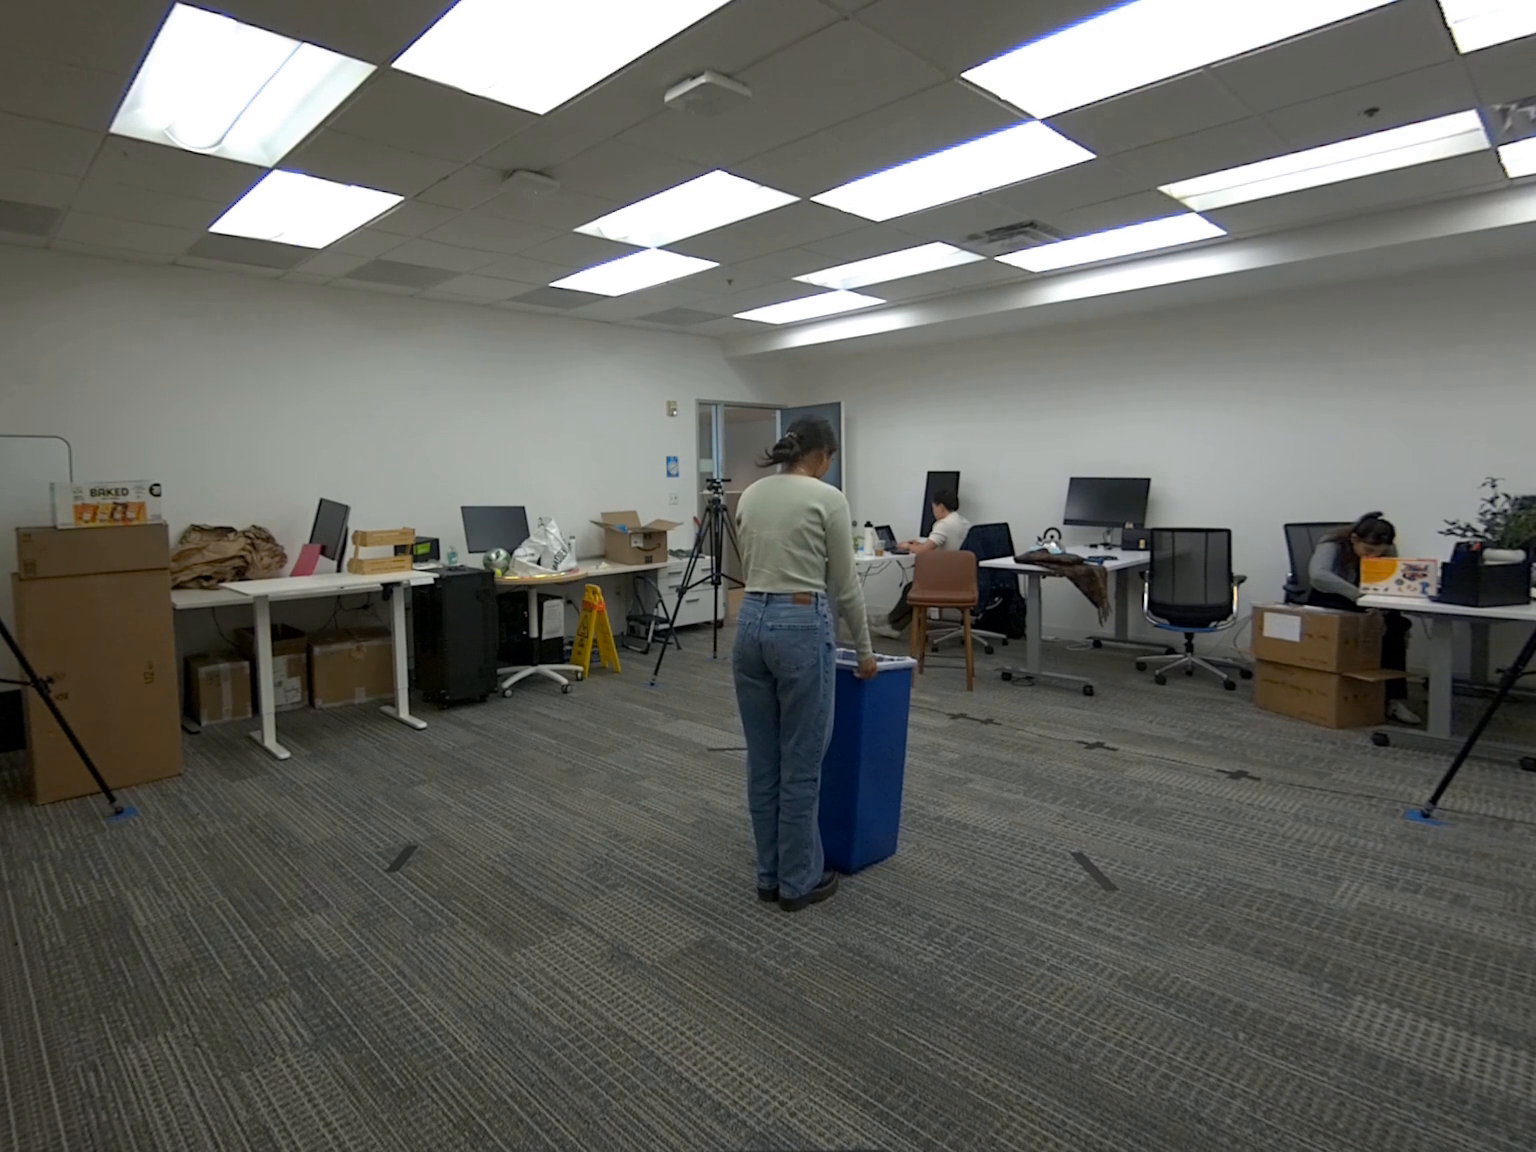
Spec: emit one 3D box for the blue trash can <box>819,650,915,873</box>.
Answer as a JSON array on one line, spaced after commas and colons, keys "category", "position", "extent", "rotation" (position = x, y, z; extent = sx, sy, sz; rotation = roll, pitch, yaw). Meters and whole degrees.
[{"category": "blue trash can", "position": [0.294, 0.657, 3.173], "extent": [0.389, 0.714, 0.362], "rotation": [2, -2, 40]}]
